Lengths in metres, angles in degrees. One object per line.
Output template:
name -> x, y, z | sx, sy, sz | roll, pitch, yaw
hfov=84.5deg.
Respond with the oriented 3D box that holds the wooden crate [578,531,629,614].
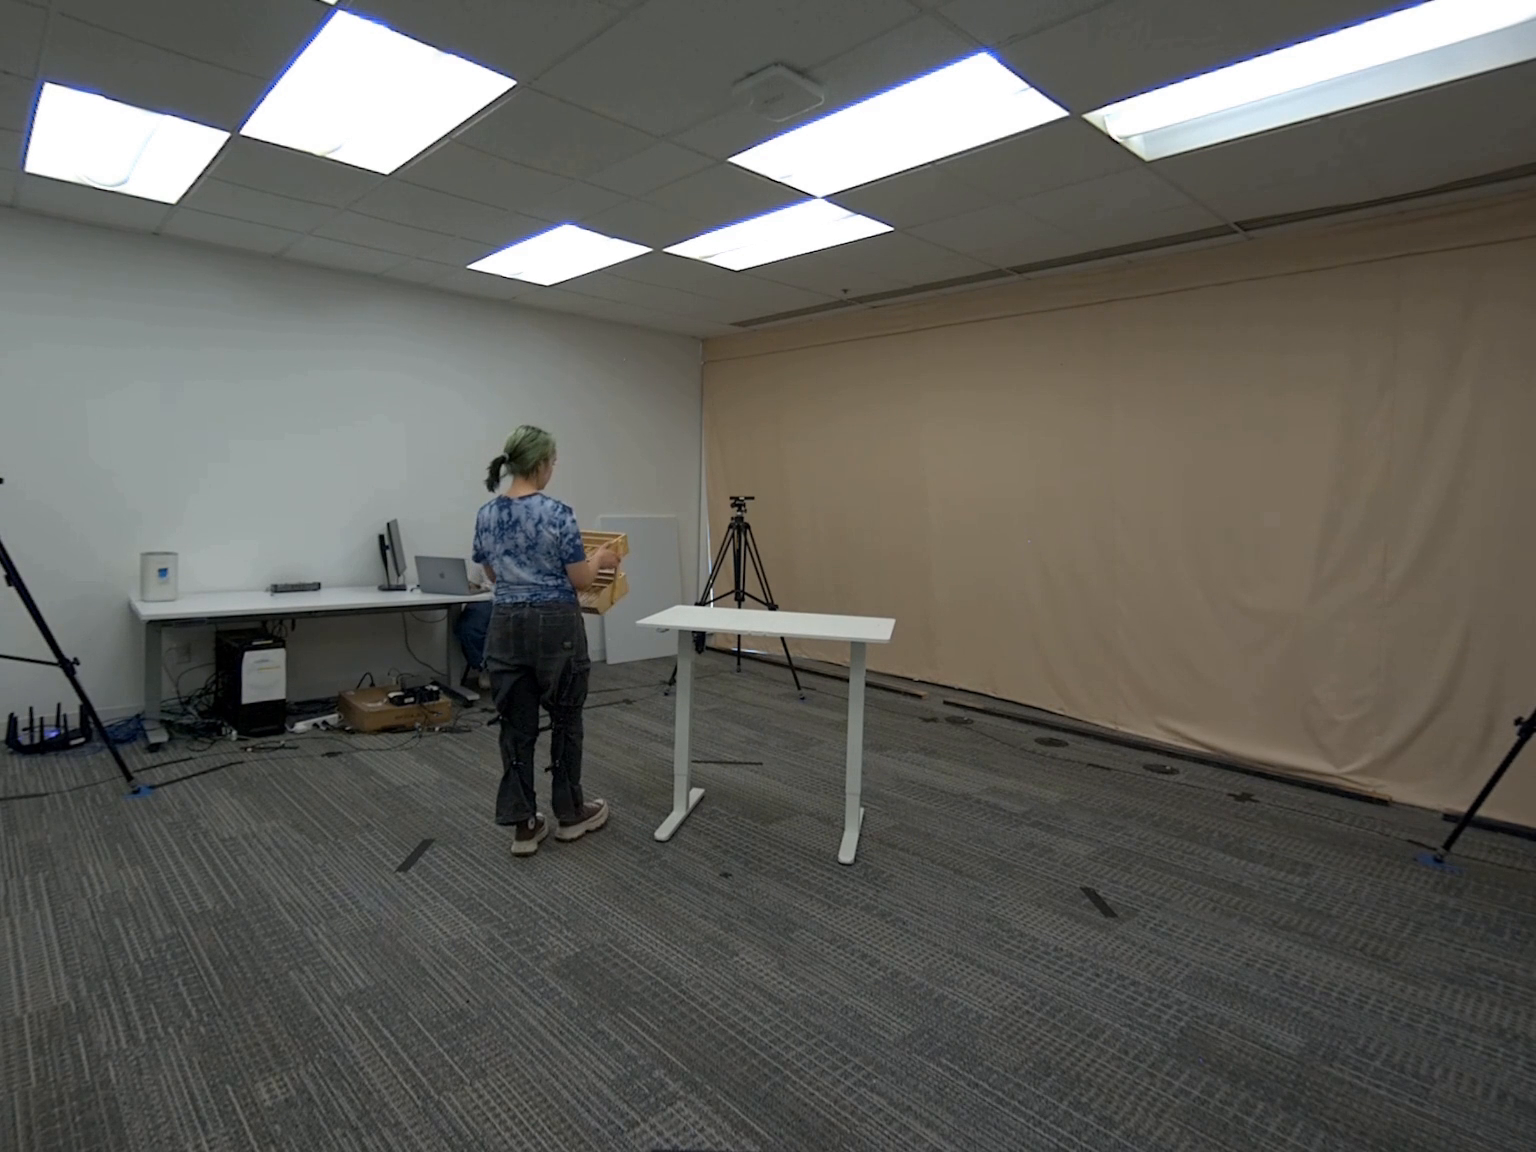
wooden crate -> -0.820, -0.019, 3.657 | 0.330, 0.269, 0.302 | 4, 24, 22
